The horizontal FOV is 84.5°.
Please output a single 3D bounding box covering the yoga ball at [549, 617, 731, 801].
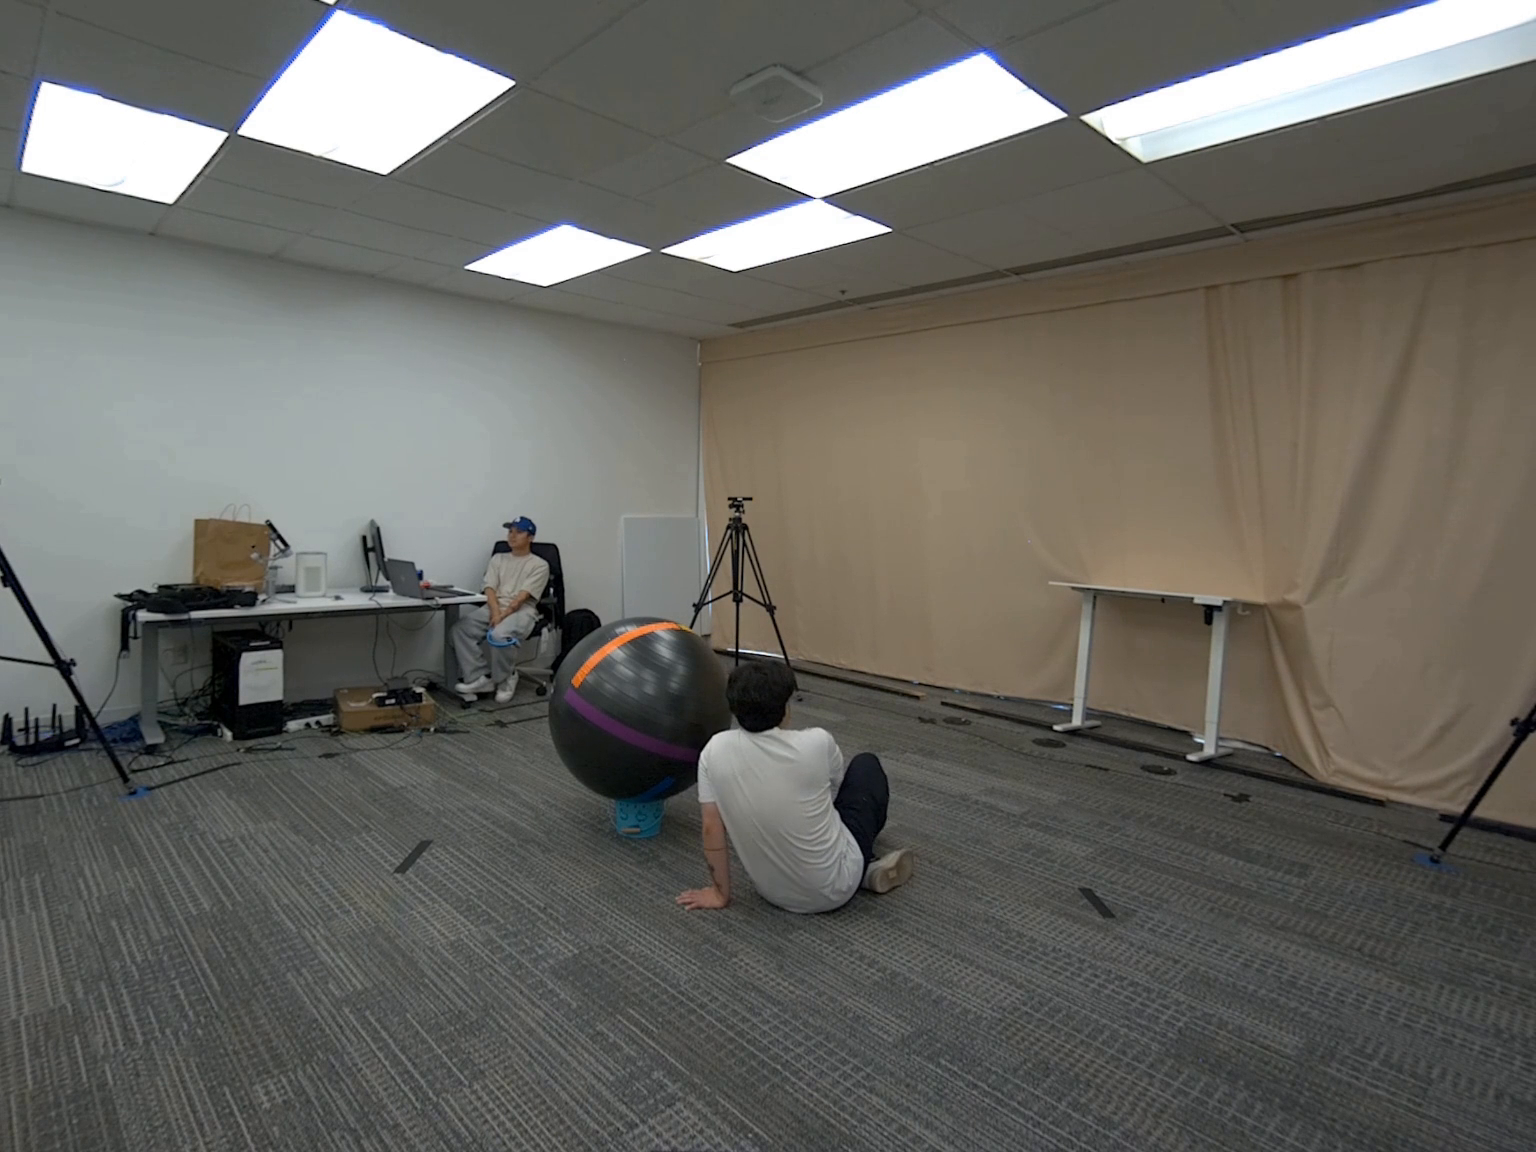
[{"bbox_3d":[-0.534,0.550,3.516,0.757,0.756,0.761,1,4,-1],"label":"yoga ball"}]
